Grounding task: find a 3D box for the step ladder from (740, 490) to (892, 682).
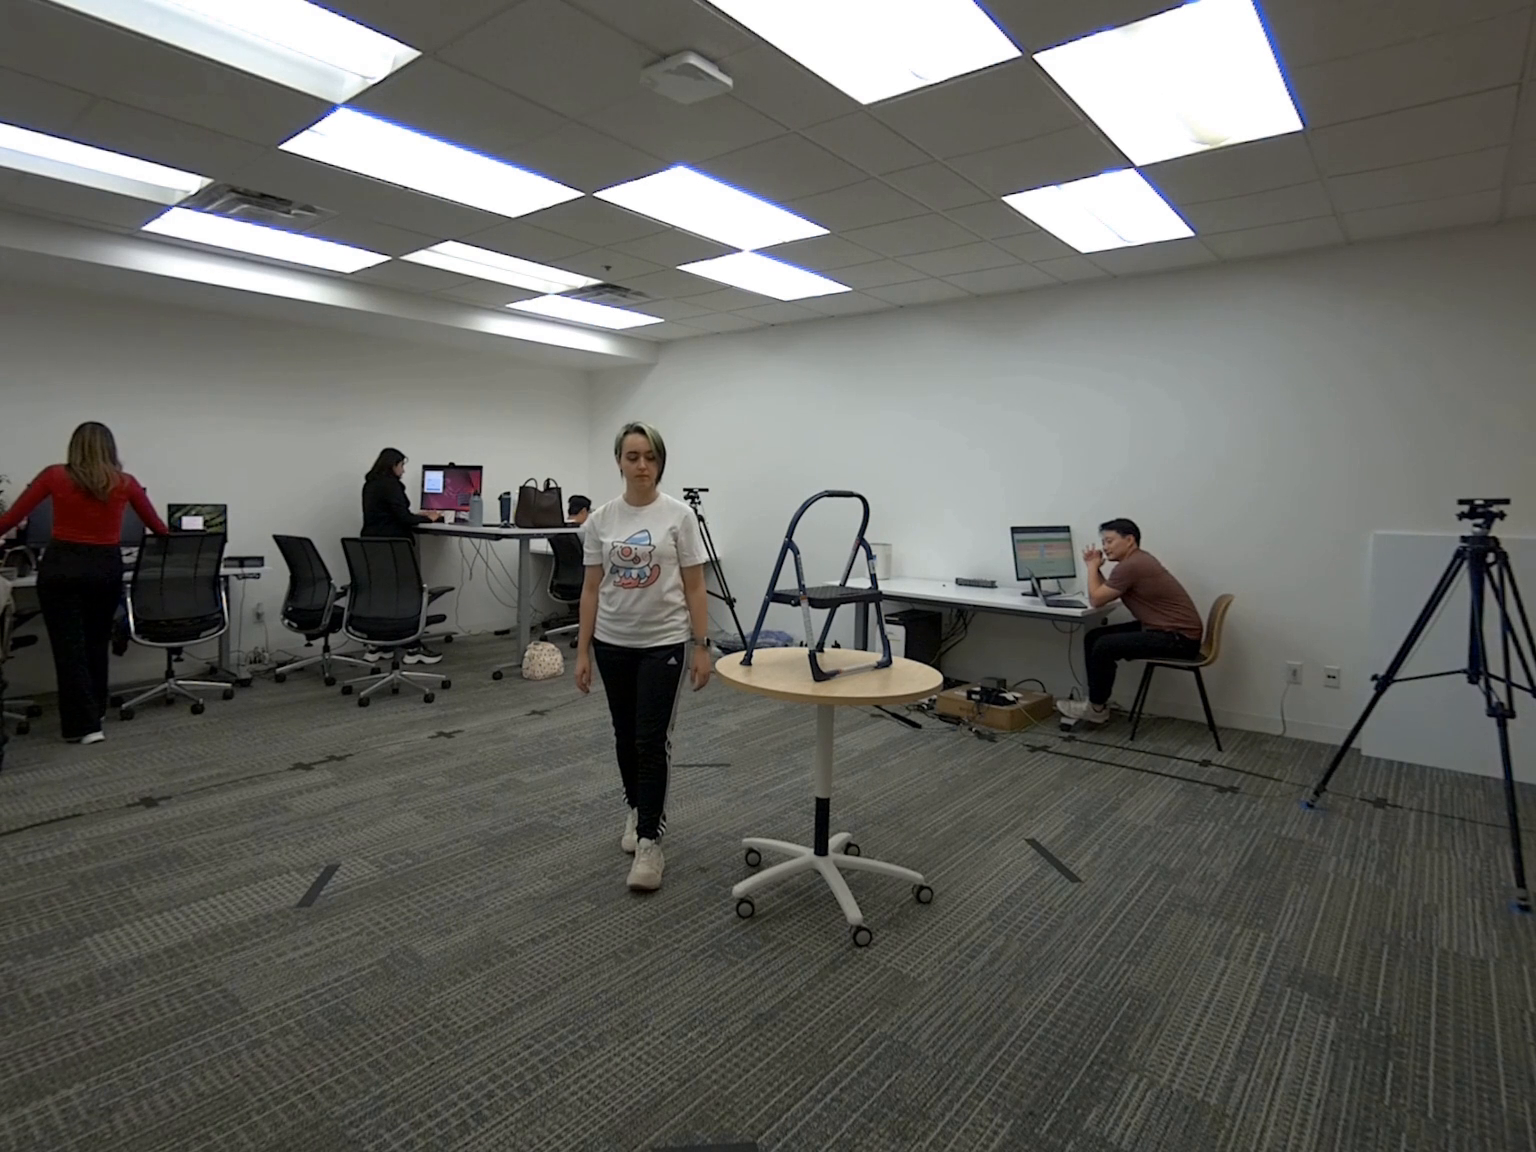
[{"bbox_3d":[0.177,0.008,2.938,0.361,0.604,0.417,5,5,44],"label":"step ladder"}]
